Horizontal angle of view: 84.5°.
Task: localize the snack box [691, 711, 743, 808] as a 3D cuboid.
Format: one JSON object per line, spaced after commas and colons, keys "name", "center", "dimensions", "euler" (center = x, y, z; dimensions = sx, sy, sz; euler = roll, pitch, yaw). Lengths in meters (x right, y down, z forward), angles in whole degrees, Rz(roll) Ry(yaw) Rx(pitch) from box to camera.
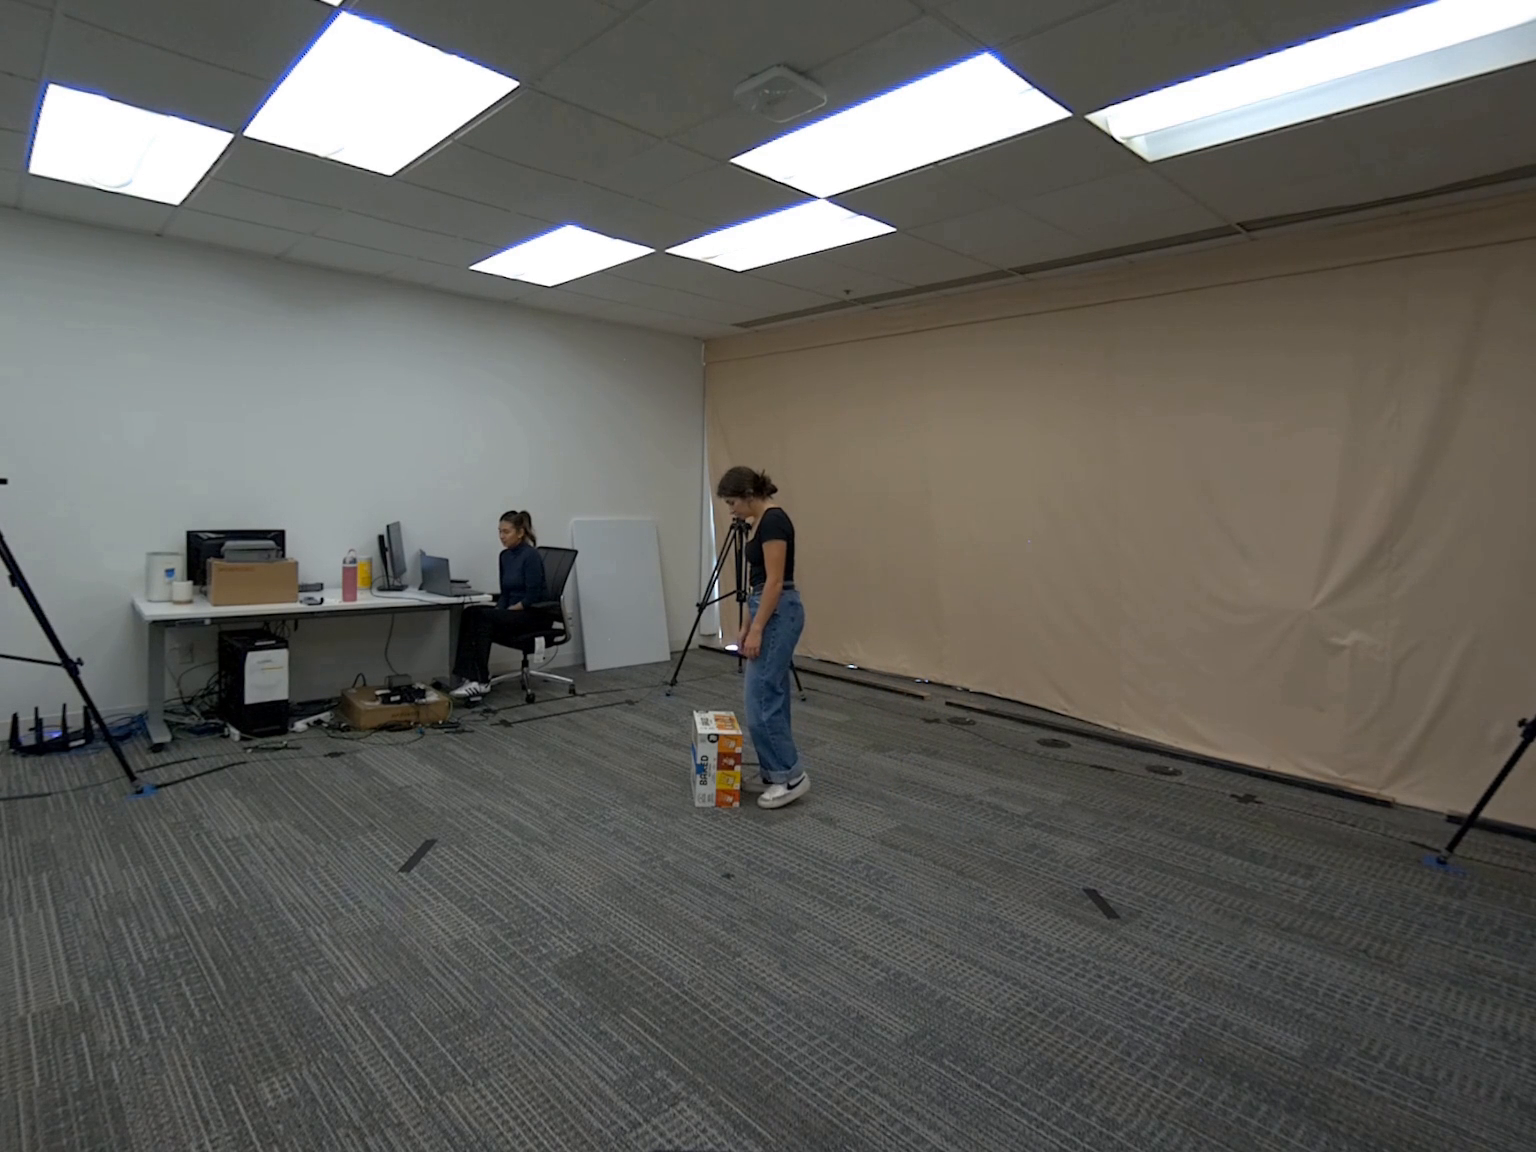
{"name": "snack box", "center": [-0.259, 0.857, 3.991], "dimensions": [0.204, 0.339, 0.408], "euler": [3, 4, -8]}
